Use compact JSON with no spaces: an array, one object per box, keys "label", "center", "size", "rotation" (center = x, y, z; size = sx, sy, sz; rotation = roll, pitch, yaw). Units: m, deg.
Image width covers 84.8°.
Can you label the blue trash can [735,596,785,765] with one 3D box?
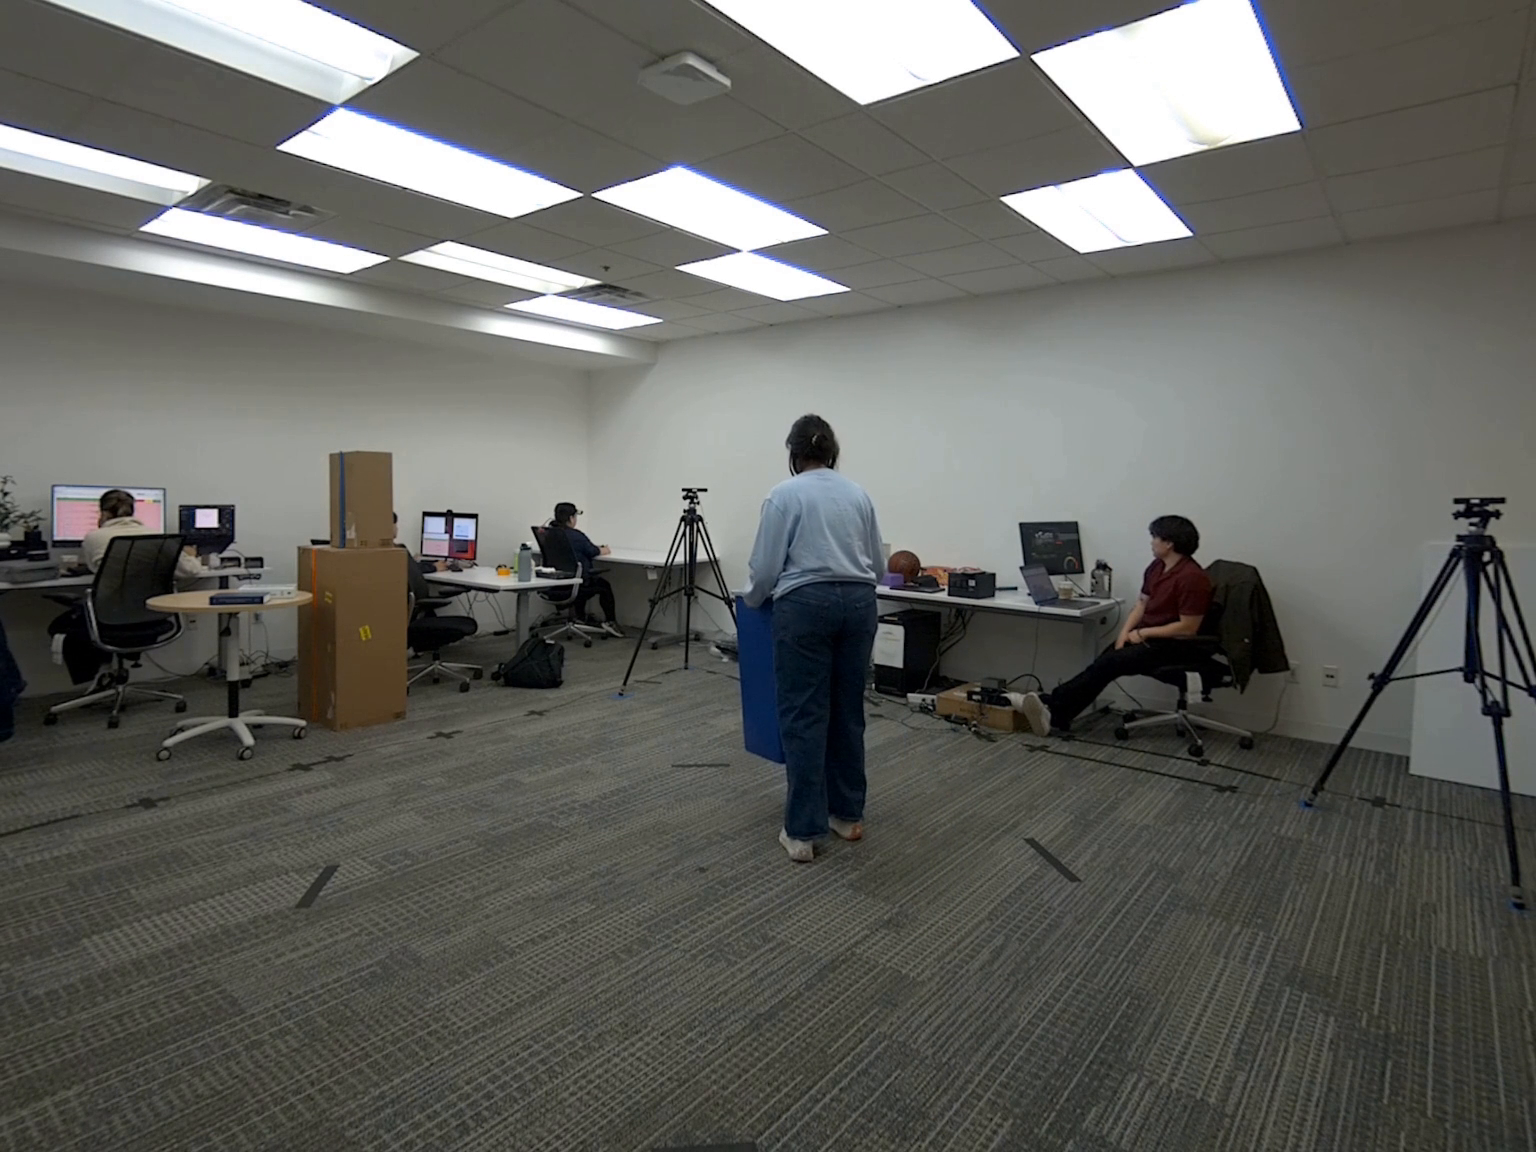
[{"label":"blue trash can","center":[0.078,0.415,3.731],"size":[0.368,0.714,0.384],"rotation":[-1,0,-31]}]
